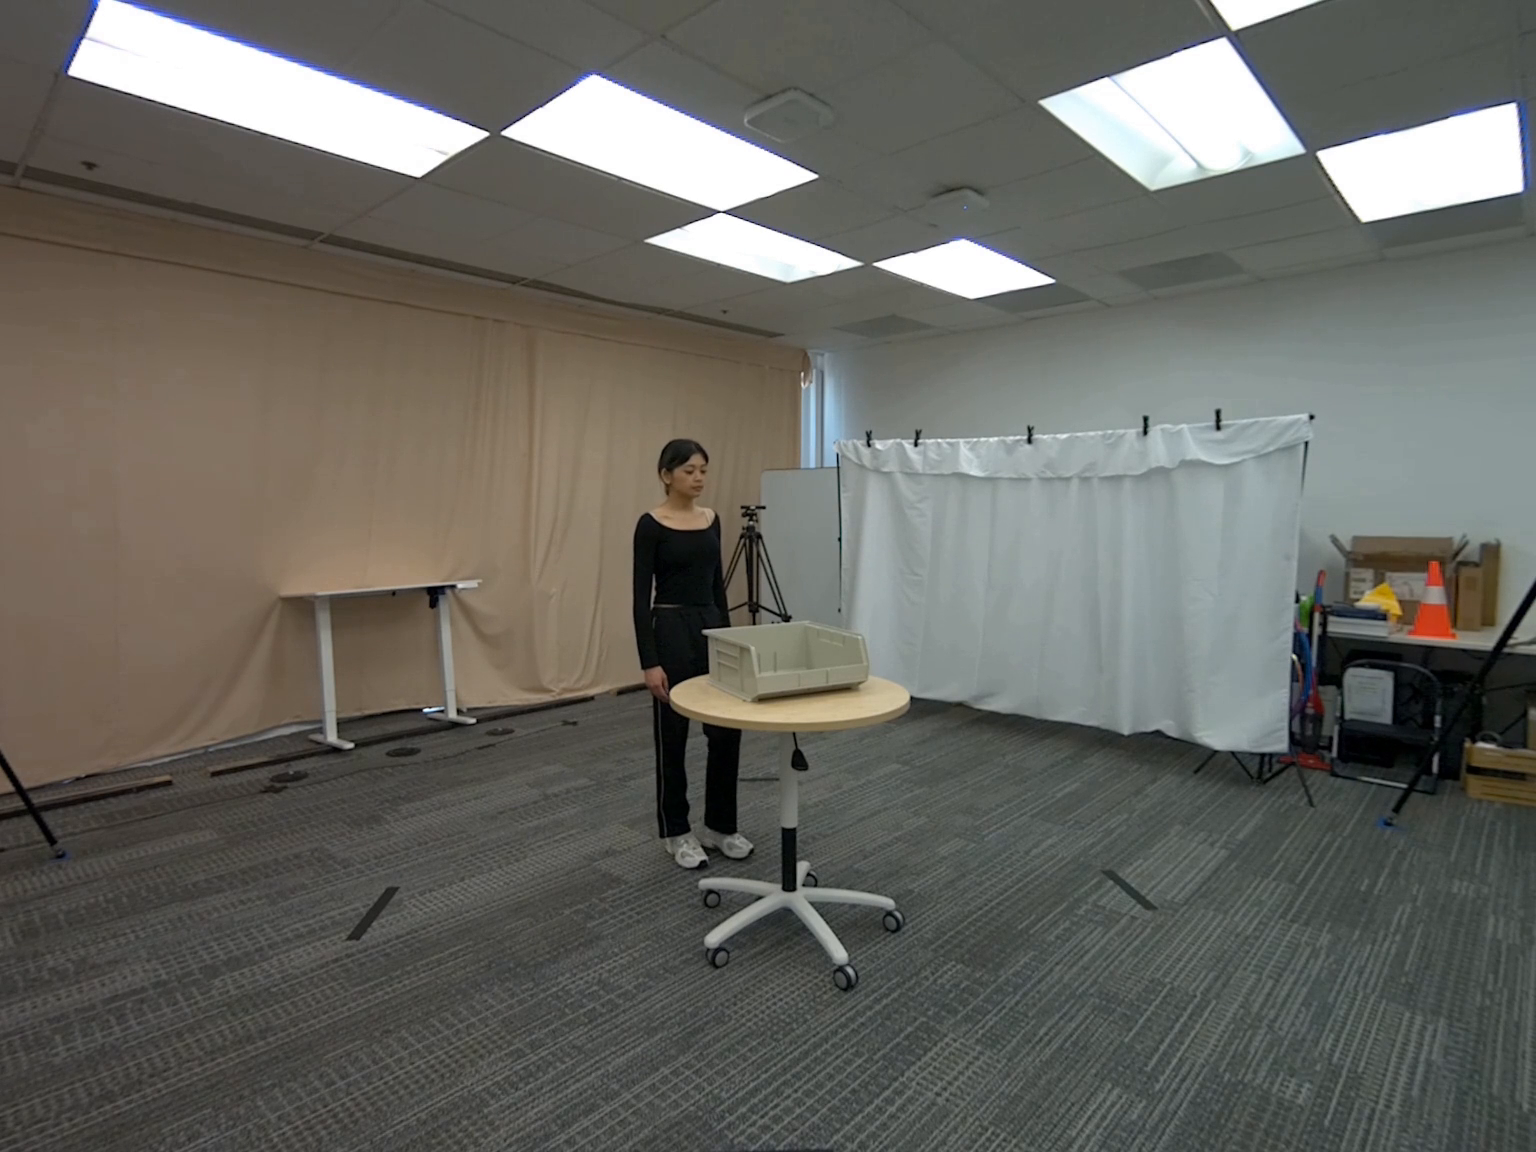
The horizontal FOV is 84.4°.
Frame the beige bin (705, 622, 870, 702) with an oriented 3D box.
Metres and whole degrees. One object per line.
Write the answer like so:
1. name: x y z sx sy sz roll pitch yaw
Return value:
1. beige bin: 0.059 0.279 2.777 0.412 0.188 0.388 -3 5 -27
